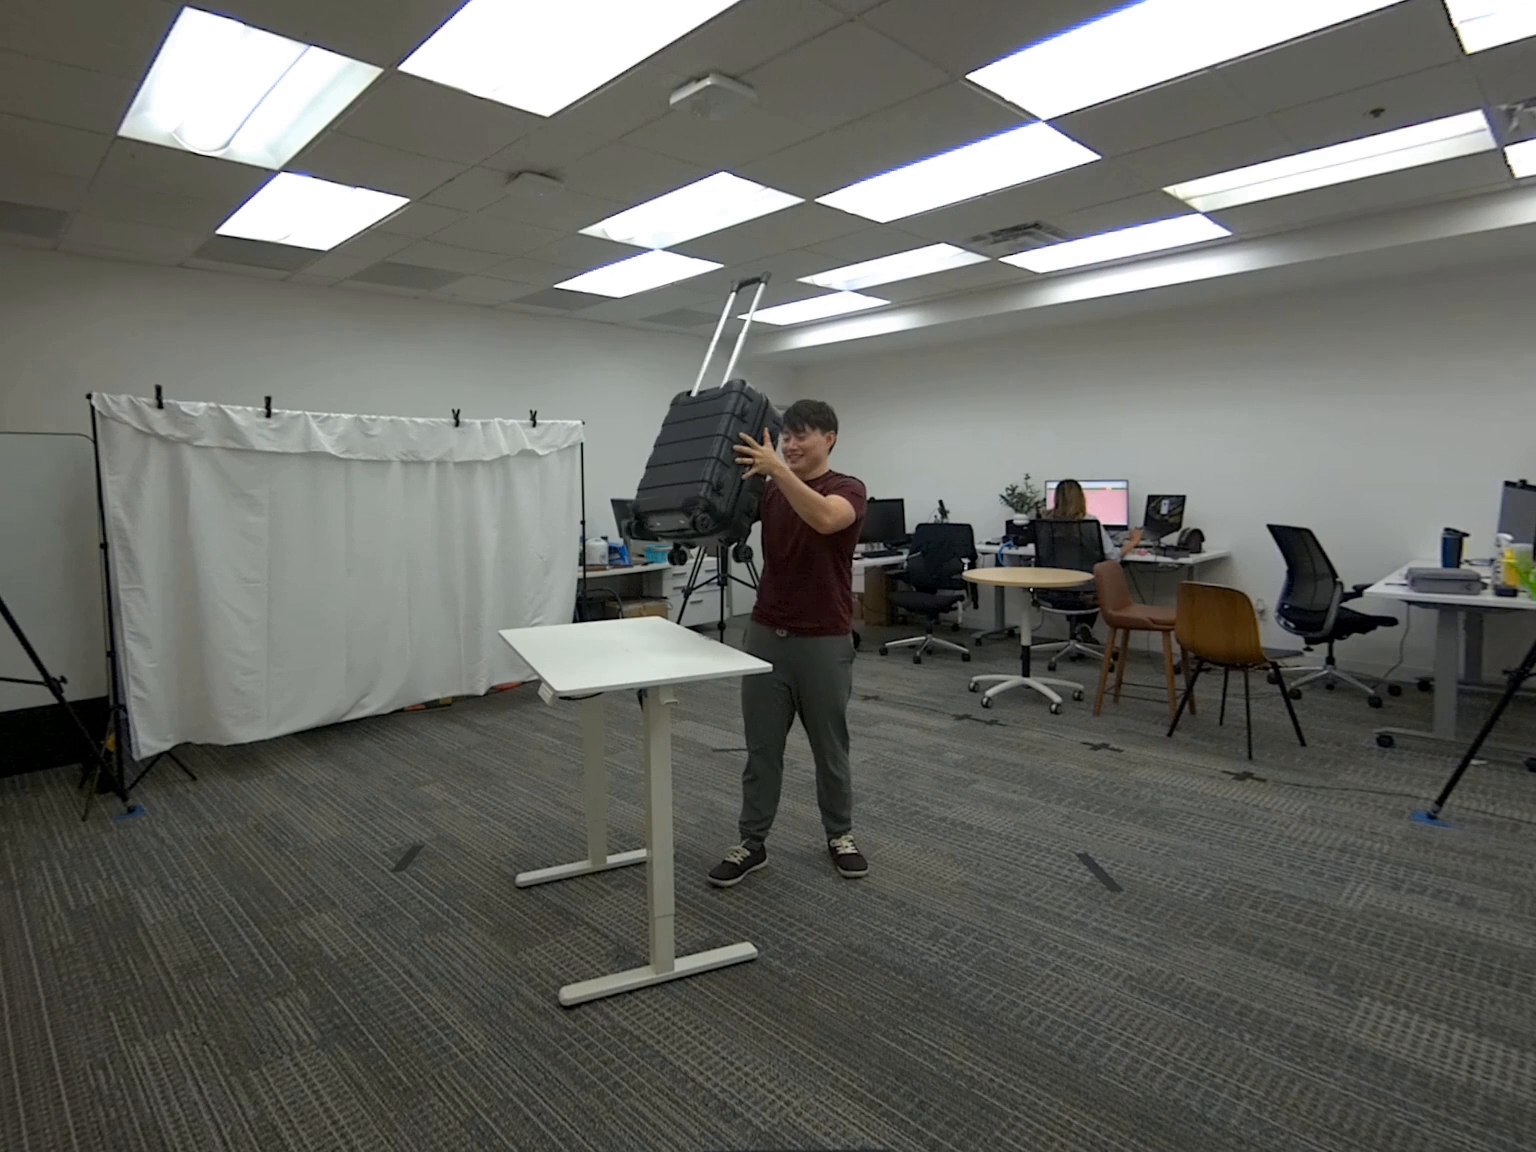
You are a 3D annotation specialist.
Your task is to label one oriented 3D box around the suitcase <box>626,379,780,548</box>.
[{"bbox_3d":[-0.133,-0.523,2.788,0.394,0.990,0.247,-4,-30,42],"label":"suitcase"}]
